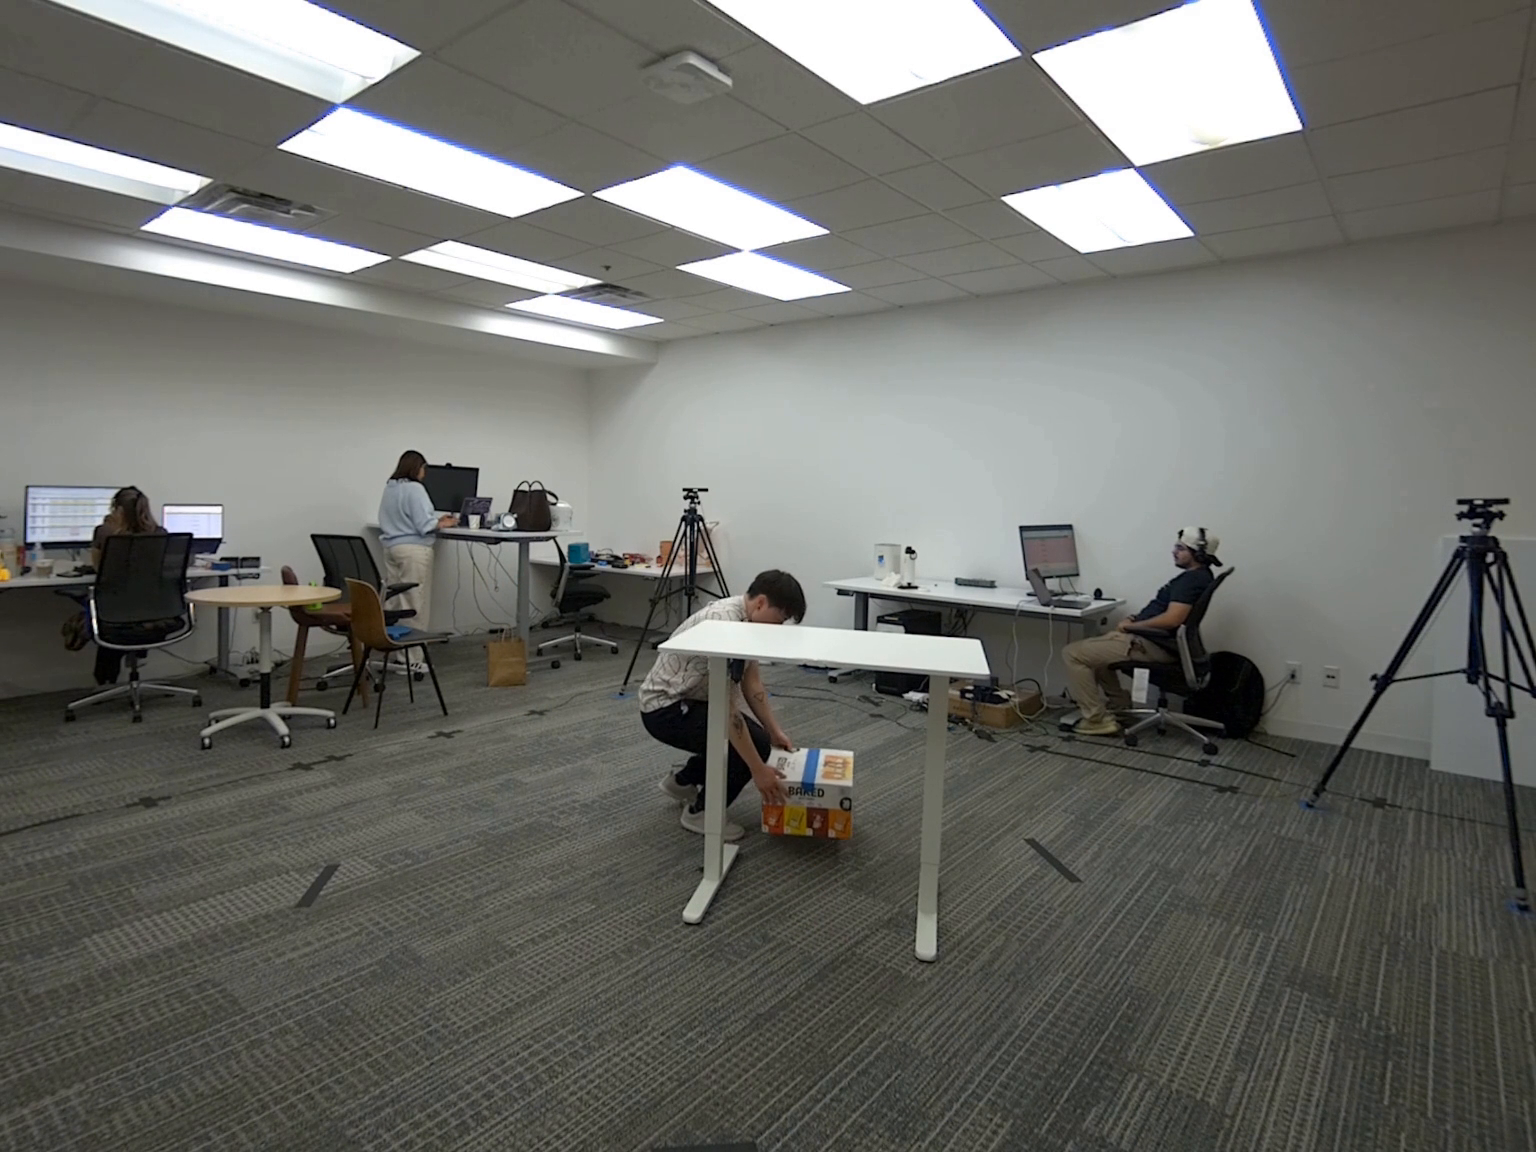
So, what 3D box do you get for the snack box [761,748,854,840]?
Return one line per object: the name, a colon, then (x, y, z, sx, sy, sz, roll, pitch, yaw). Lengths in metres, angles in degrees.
snack box: (0.158, 0.847, 3.395, 0.343, 0.204, 0.404, 1, 7, 7)
